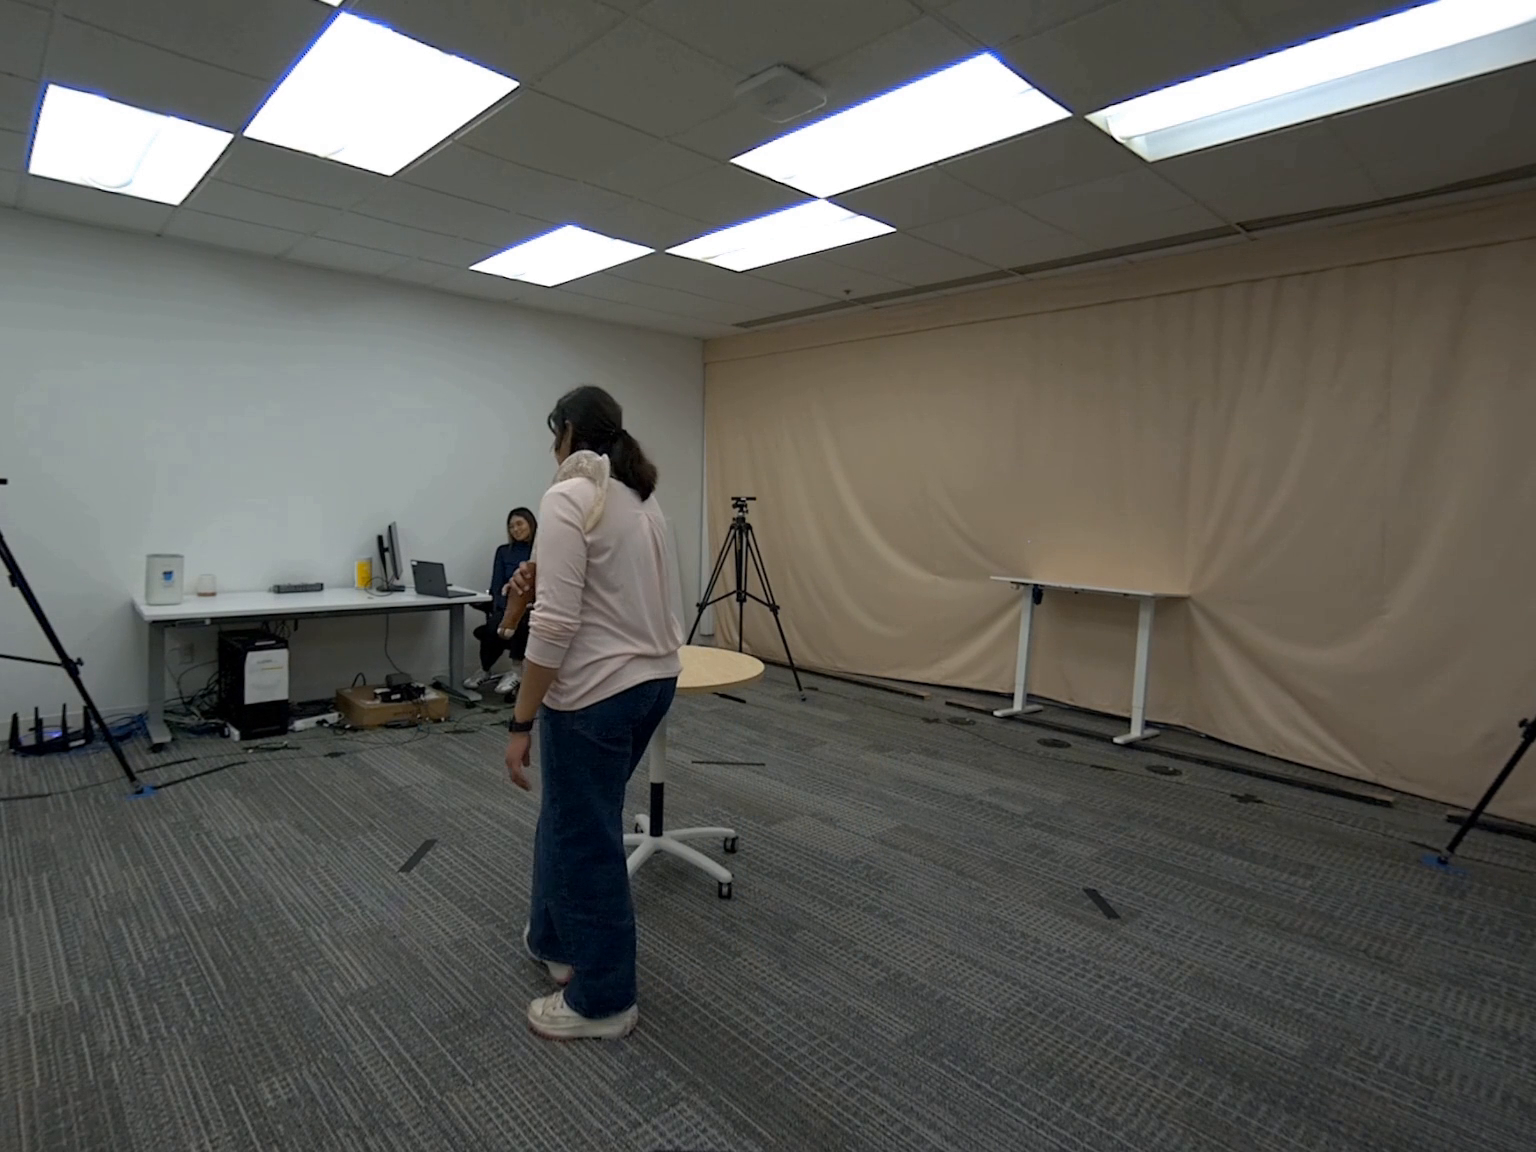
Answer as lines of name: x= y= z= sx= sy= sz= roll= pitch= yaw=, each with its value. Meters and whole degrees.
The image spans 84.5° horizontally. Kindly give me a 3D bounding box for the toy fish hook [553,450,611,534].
toy fish hook: x=-0.519 y=-0.068 z=2.060 sx=0.231 sy=0.508 sz=0.047 roll=15 pitch=-8 yaw=44
